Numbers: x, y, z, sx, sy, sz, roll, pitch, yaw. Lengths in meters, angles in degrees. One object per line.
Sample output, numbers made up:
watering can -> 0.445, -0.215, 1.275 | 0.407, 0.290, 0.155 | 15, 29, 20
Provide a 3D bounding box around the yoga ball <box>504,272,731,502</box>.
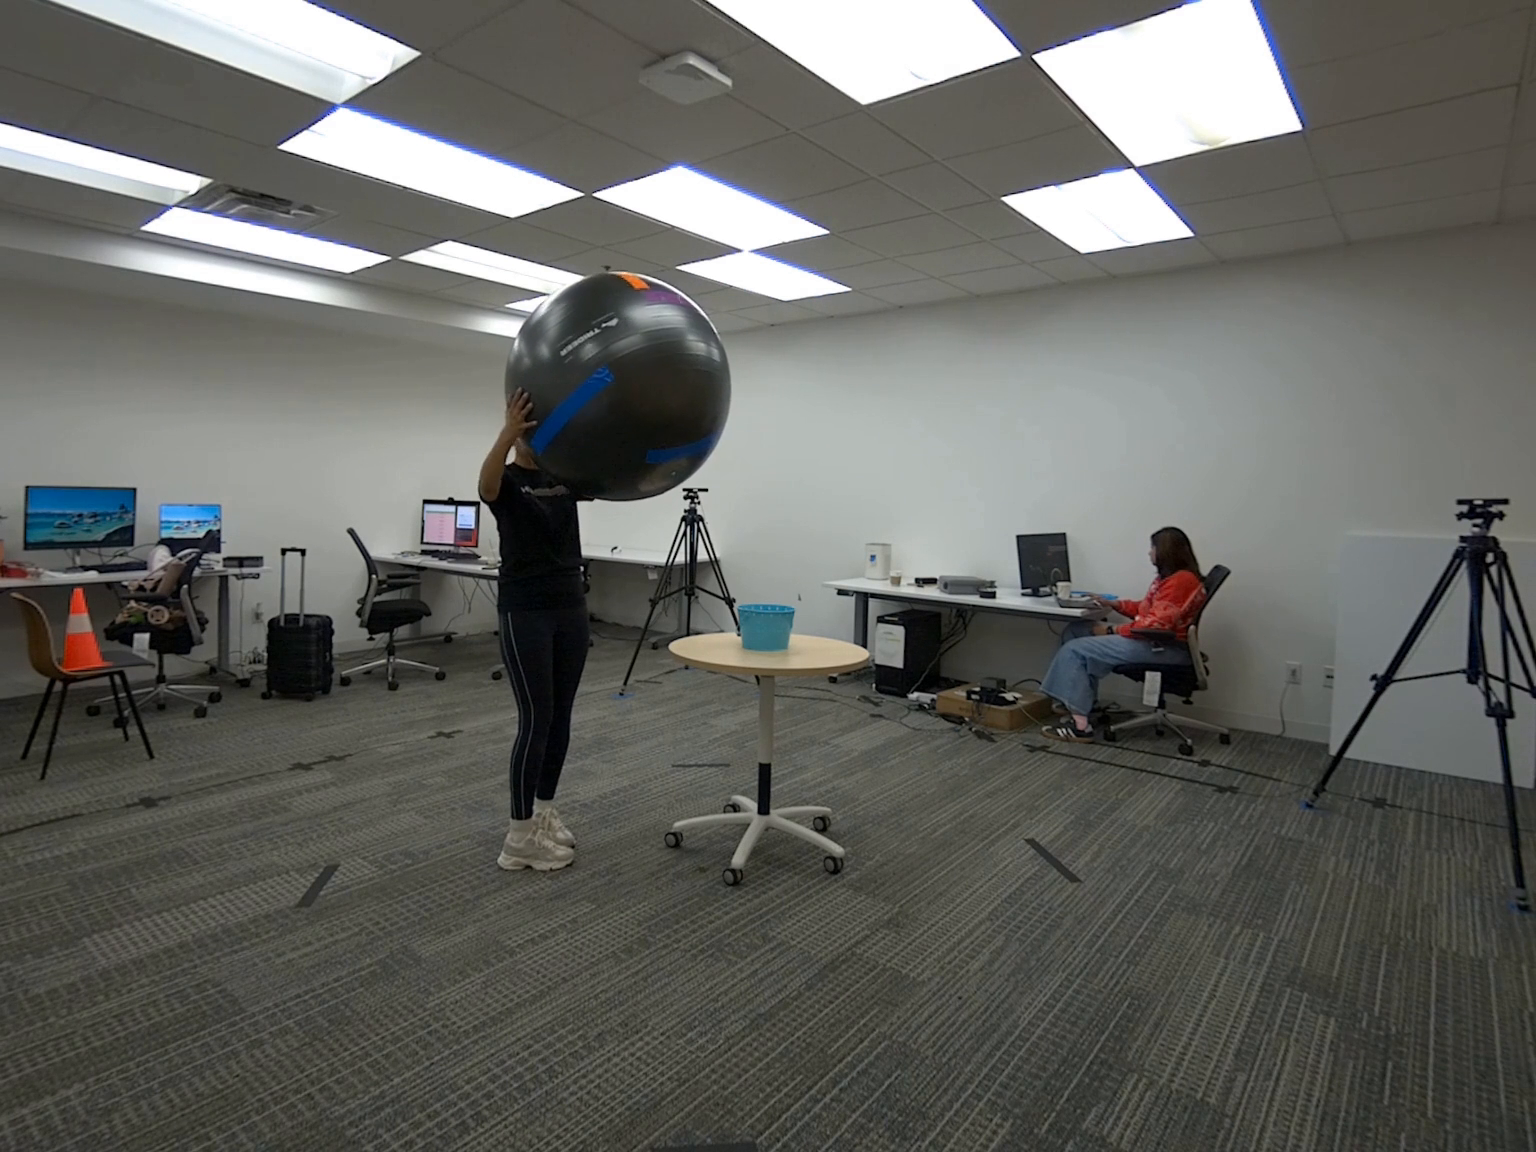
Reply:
yoga ball -> -0.514, -0.630, 2.865 | 0.757, 0.756, 0.762 | 1, 4, -2
